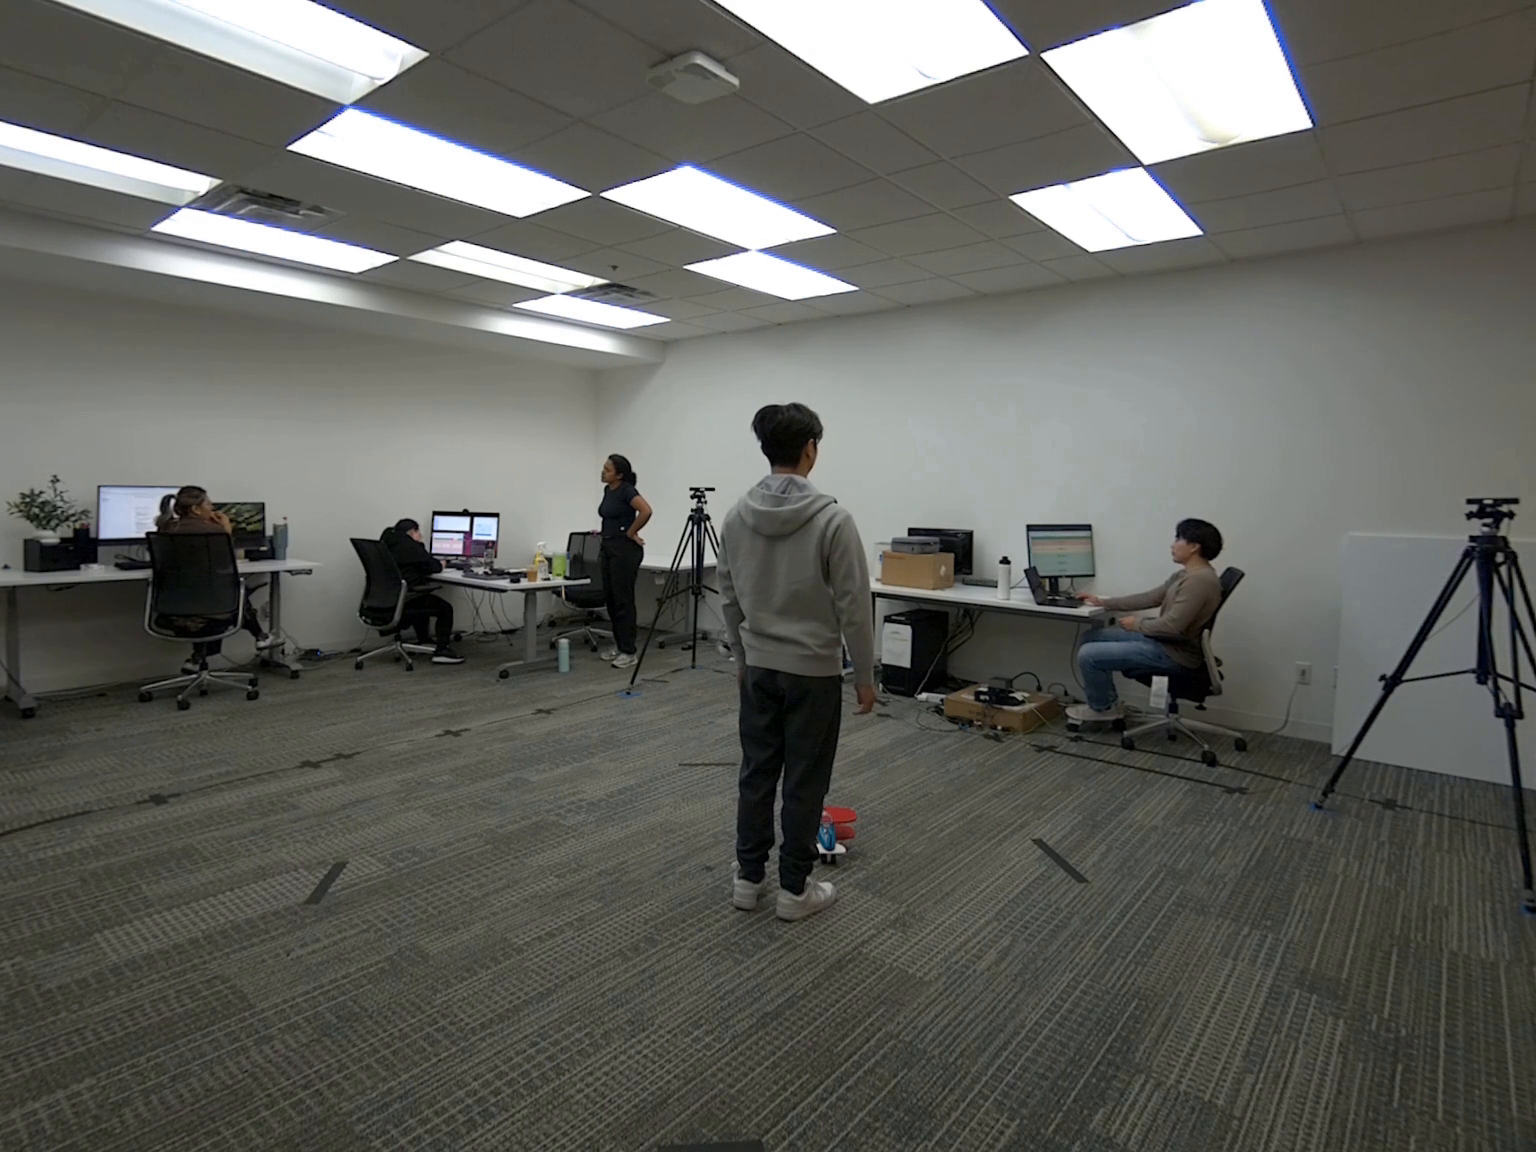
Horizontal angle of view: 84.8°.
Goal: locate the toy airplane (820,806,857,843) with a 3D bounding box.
[{"bbox_3d":[0.227,0.982,3.268,0.244,0.156,0.267,-2,6,-32],"label":"toy airplane"}]
